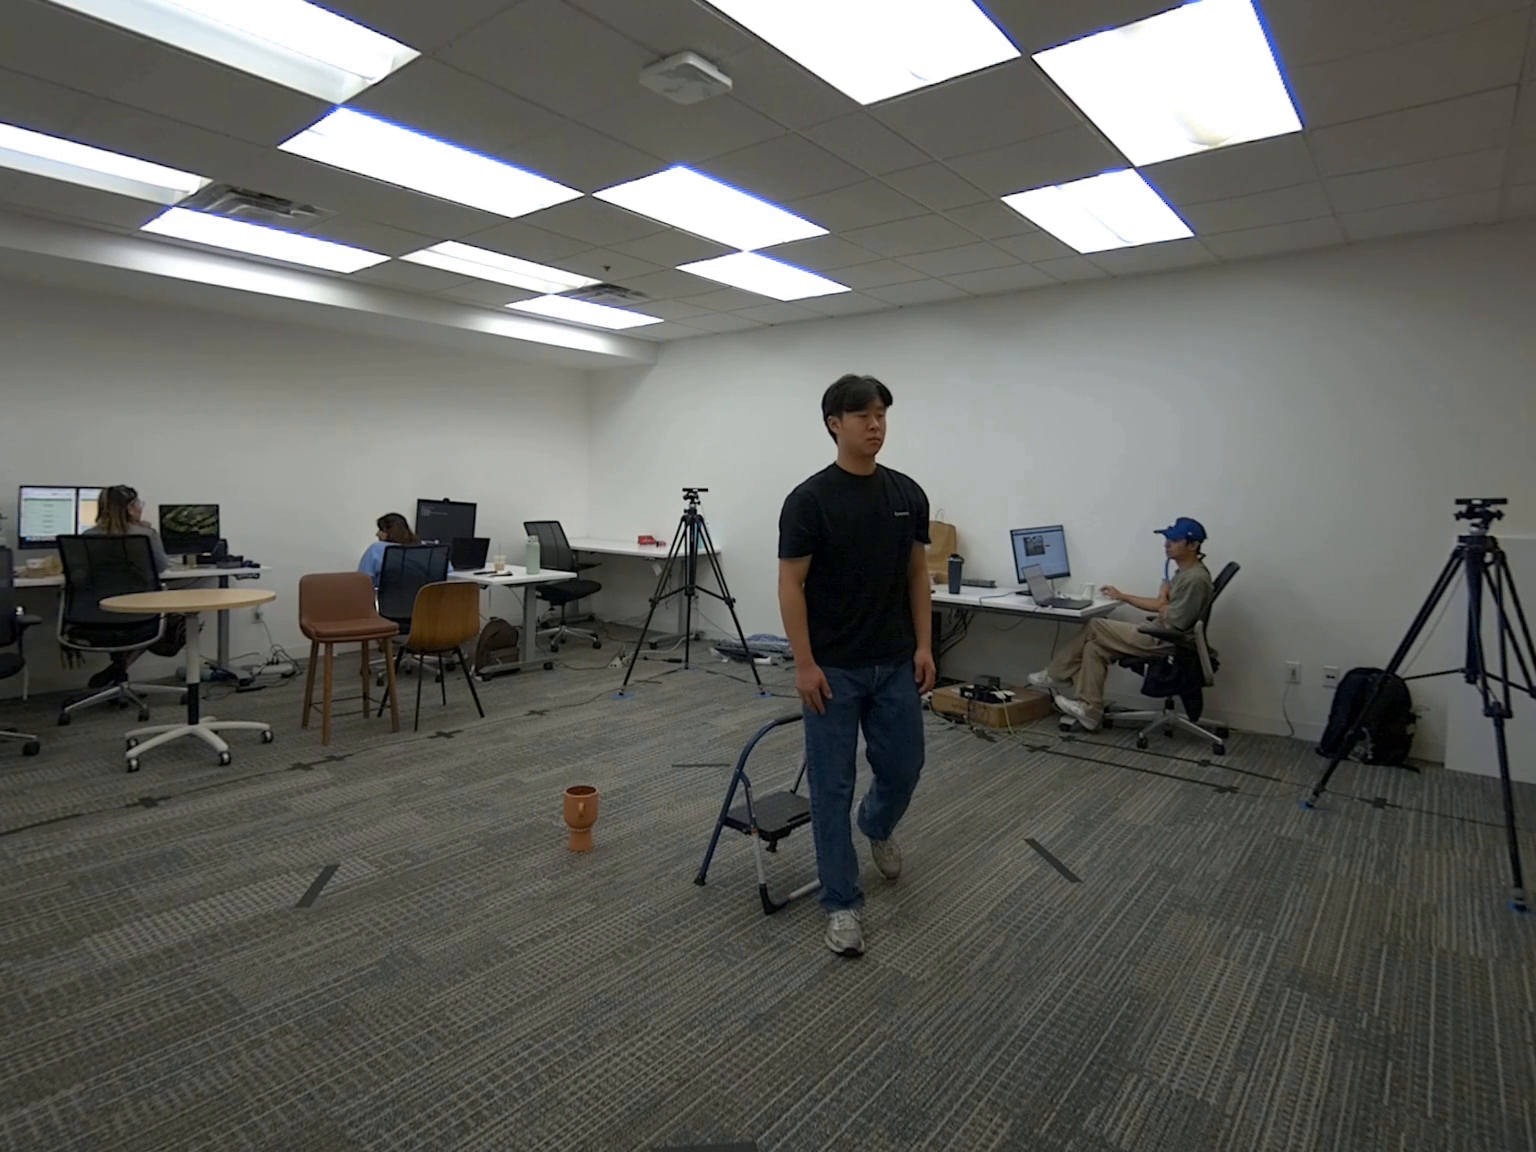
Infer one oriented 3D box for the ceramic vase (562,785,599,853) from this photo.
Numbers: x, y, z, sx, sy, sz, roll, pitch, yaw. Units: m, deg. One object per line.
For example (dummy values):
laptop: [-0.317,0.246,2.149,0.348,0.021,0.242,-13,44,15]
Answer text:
ceramic vase: [-0.732,0.931,3.282,0.138,0.219,0.155,3,3,28]
